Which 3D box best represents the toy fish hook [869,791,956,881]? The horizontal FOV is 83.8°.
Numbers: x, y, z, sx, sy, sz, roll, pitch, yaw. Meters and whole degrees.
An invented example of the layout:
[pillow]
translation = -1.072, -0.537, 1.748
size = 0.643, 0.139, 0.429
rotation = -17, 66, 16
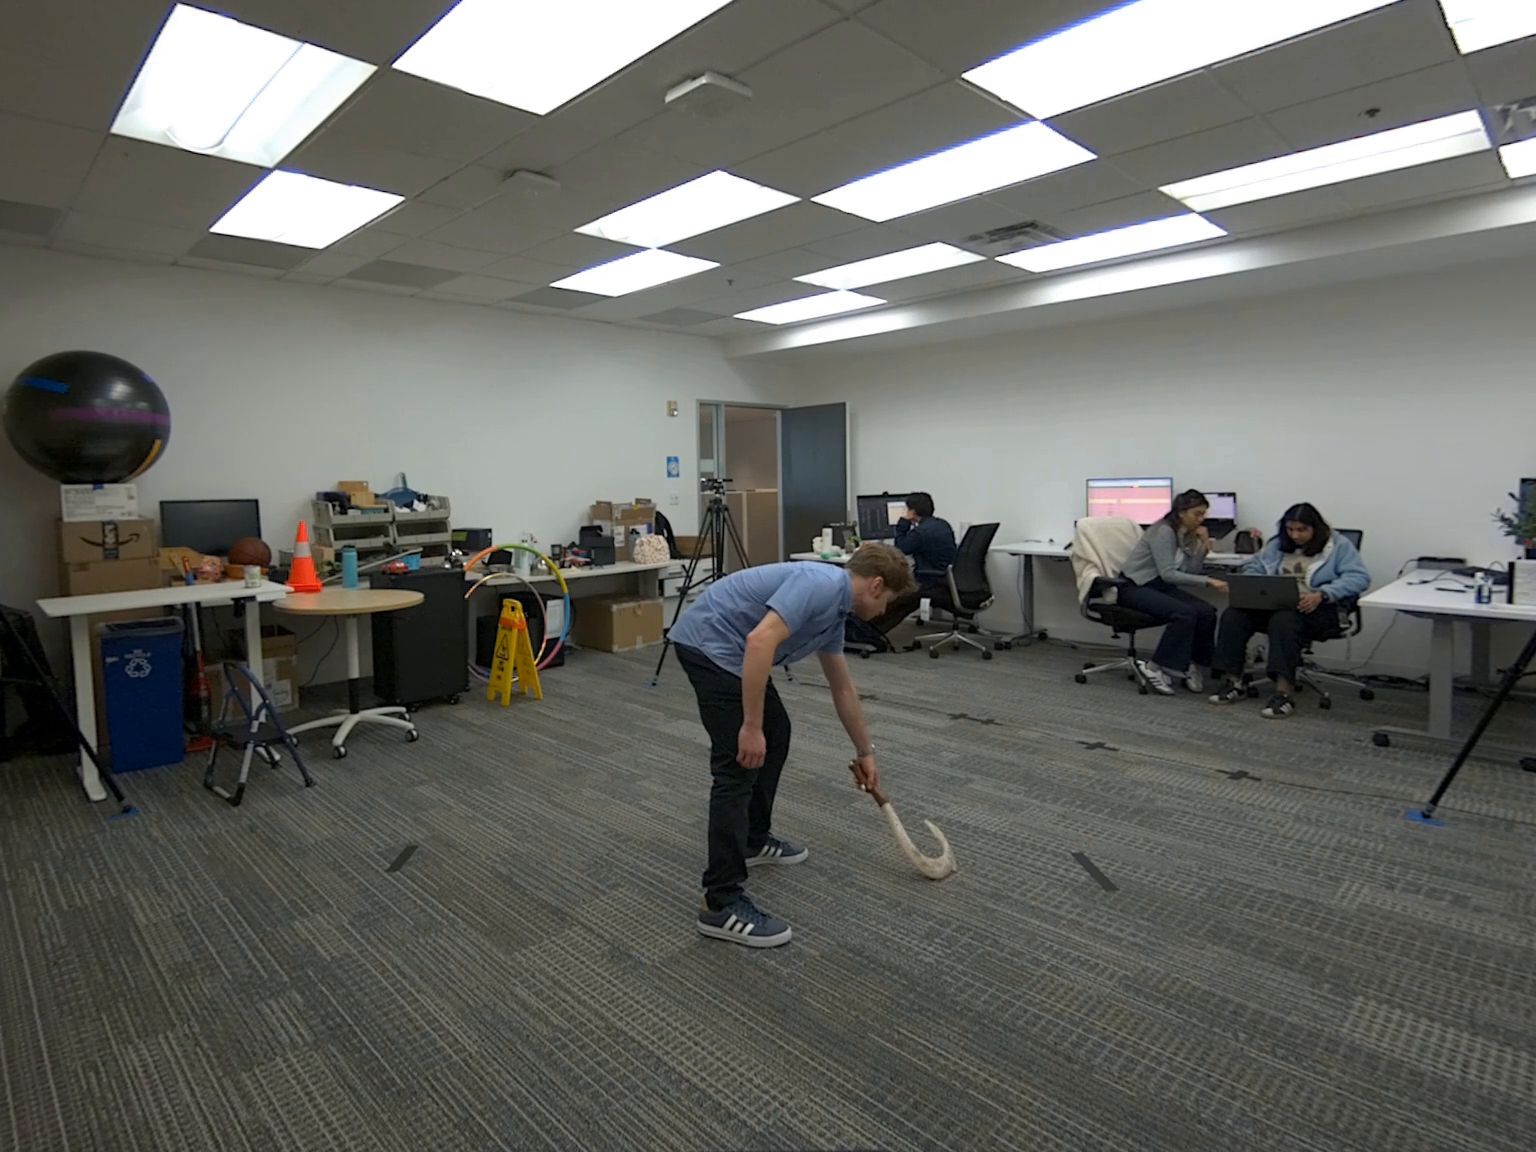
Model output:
[toy fish hook]
translation = 0.480, 0.863, 3.118
size = 0.218, 0.048, 0.524
rotation = -2, 44, -45
